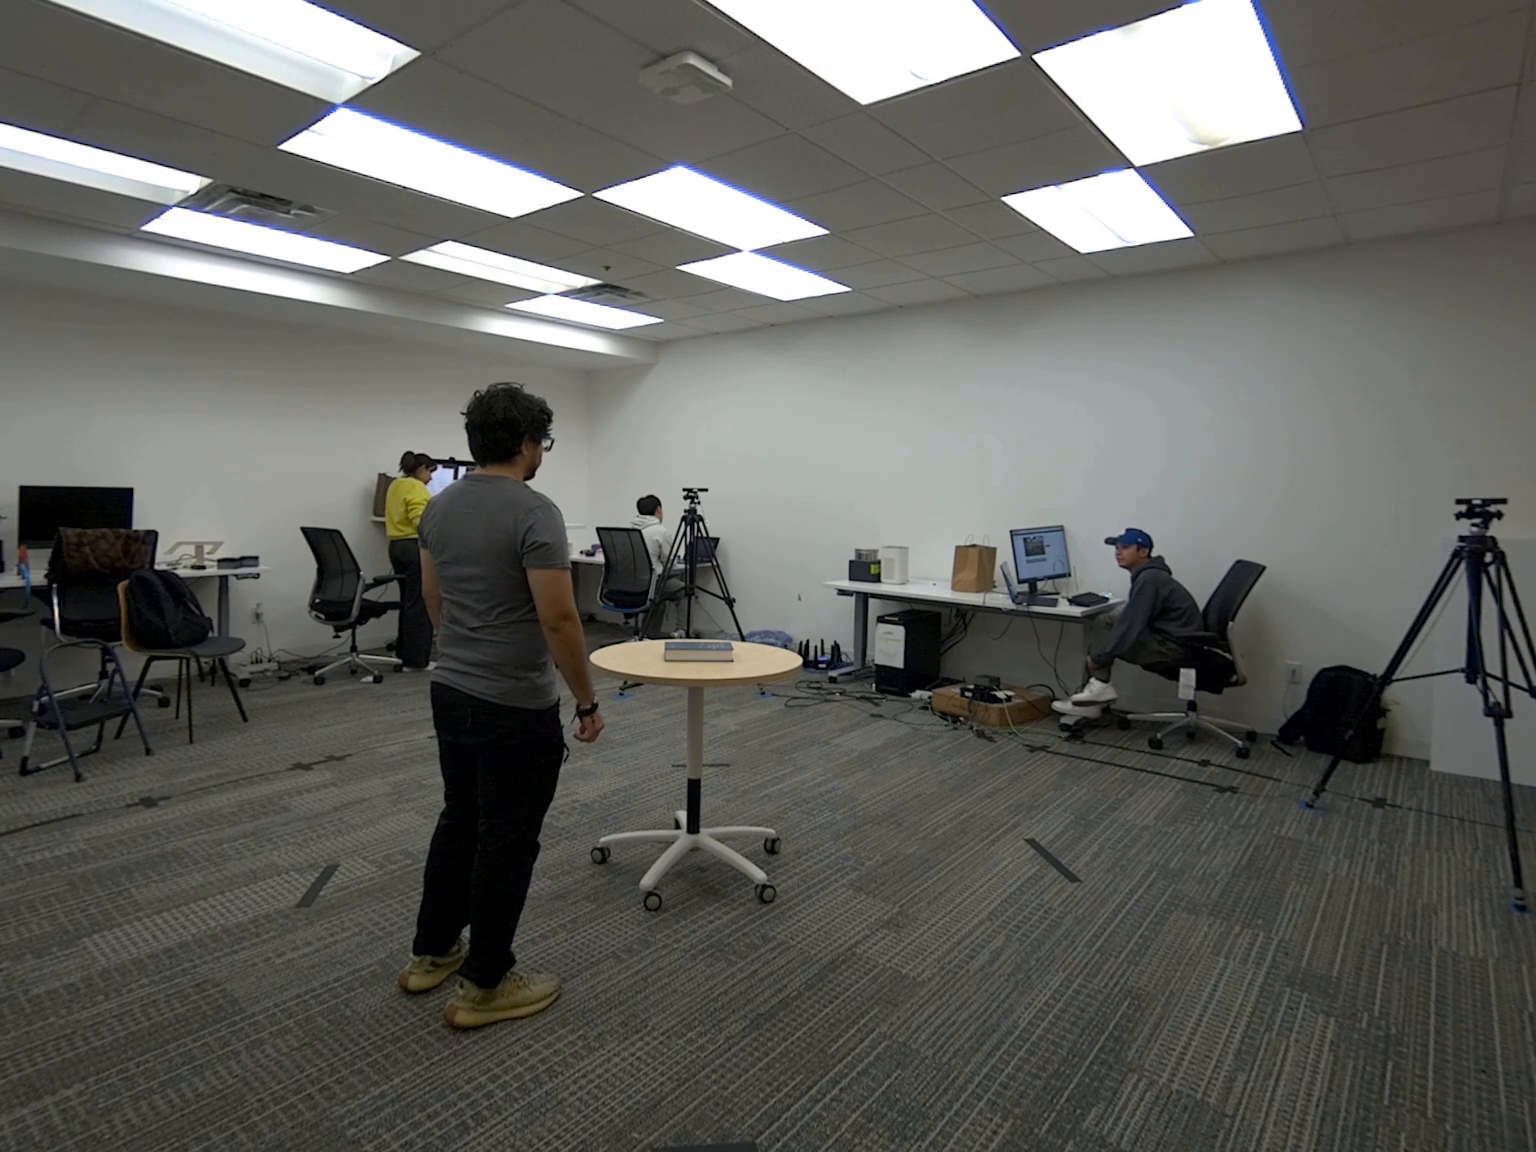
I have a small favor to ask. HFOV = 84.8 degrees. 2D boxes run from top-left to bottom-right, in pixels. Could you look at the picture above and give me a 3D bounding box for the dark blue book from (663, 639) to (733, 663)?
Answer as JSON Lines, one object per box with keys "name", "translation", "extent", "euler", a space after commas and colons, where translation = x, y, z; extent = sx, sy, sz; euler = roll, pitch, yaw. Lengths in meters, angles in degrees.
{"name": "dark blue book", "translation": [-0.261, 0.271, 3.066], "extent": [0.244, 0.045, 0.165], "euler": [0, 6, -5]}
